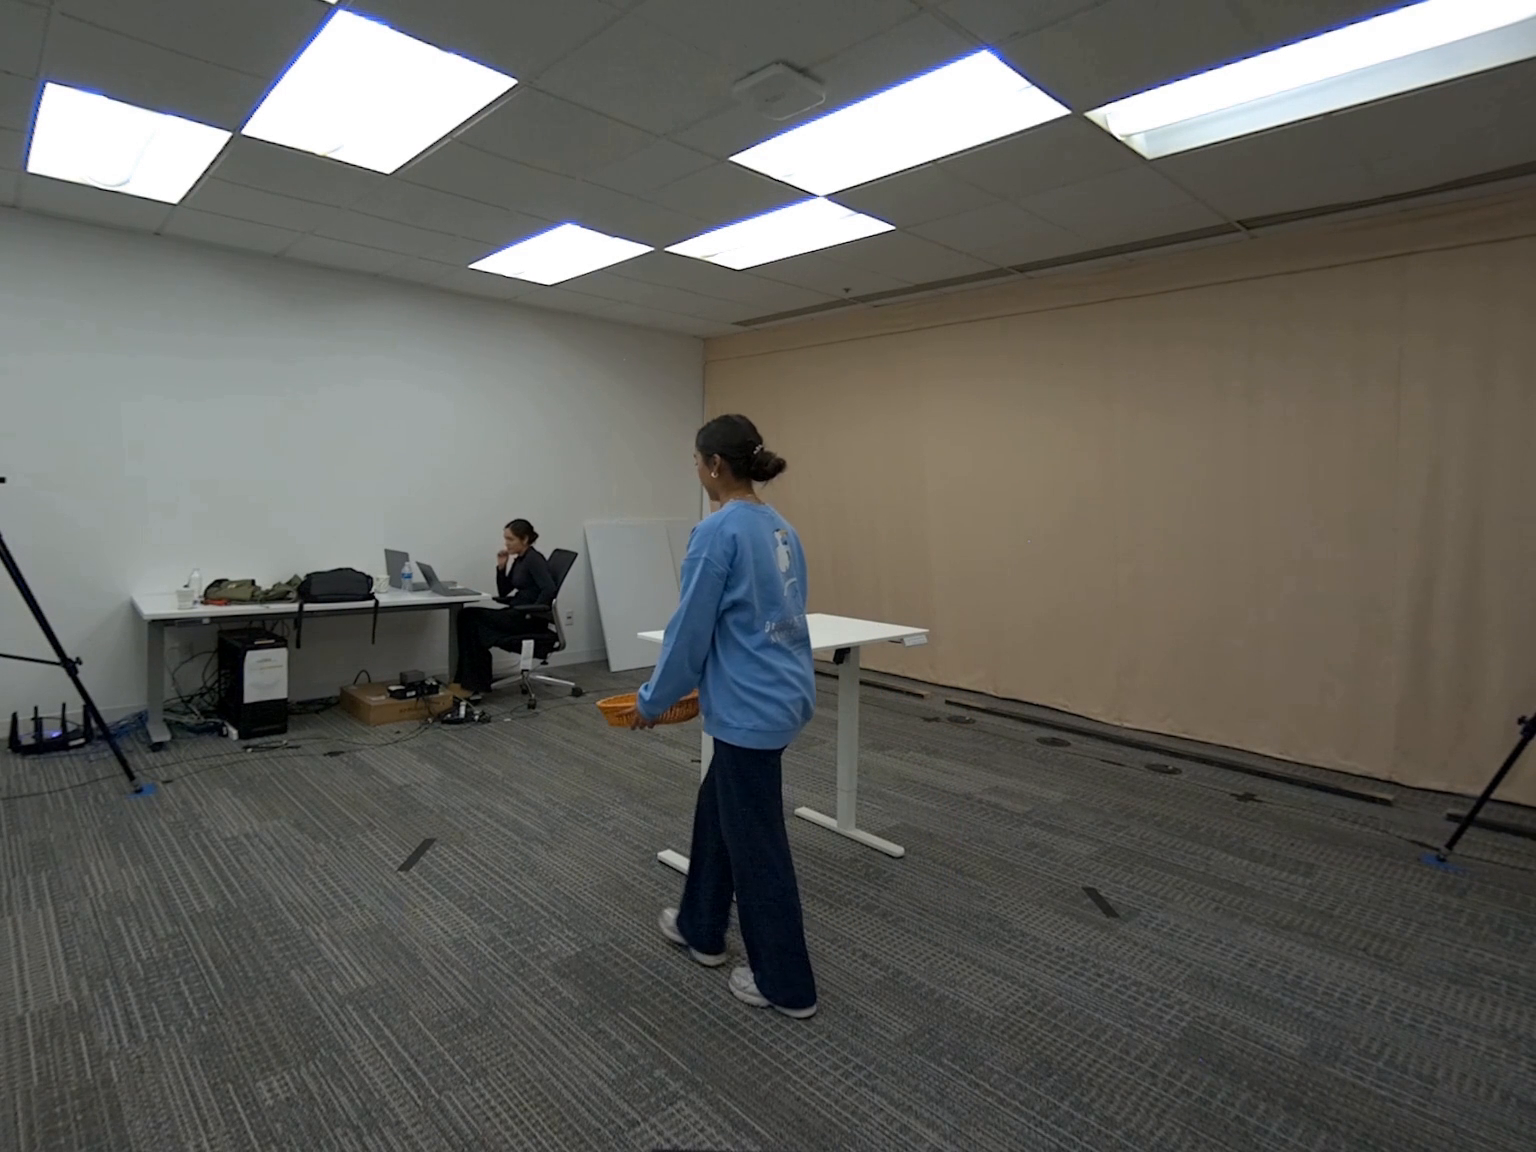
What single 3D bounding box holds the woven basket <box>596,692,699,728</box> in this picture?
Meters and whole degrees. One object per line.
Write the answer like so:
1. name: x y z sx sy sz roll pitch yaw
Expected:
1. woven basket: -0.367 0.401 2.547 0.354 0.073 0.250 -3 2 15
